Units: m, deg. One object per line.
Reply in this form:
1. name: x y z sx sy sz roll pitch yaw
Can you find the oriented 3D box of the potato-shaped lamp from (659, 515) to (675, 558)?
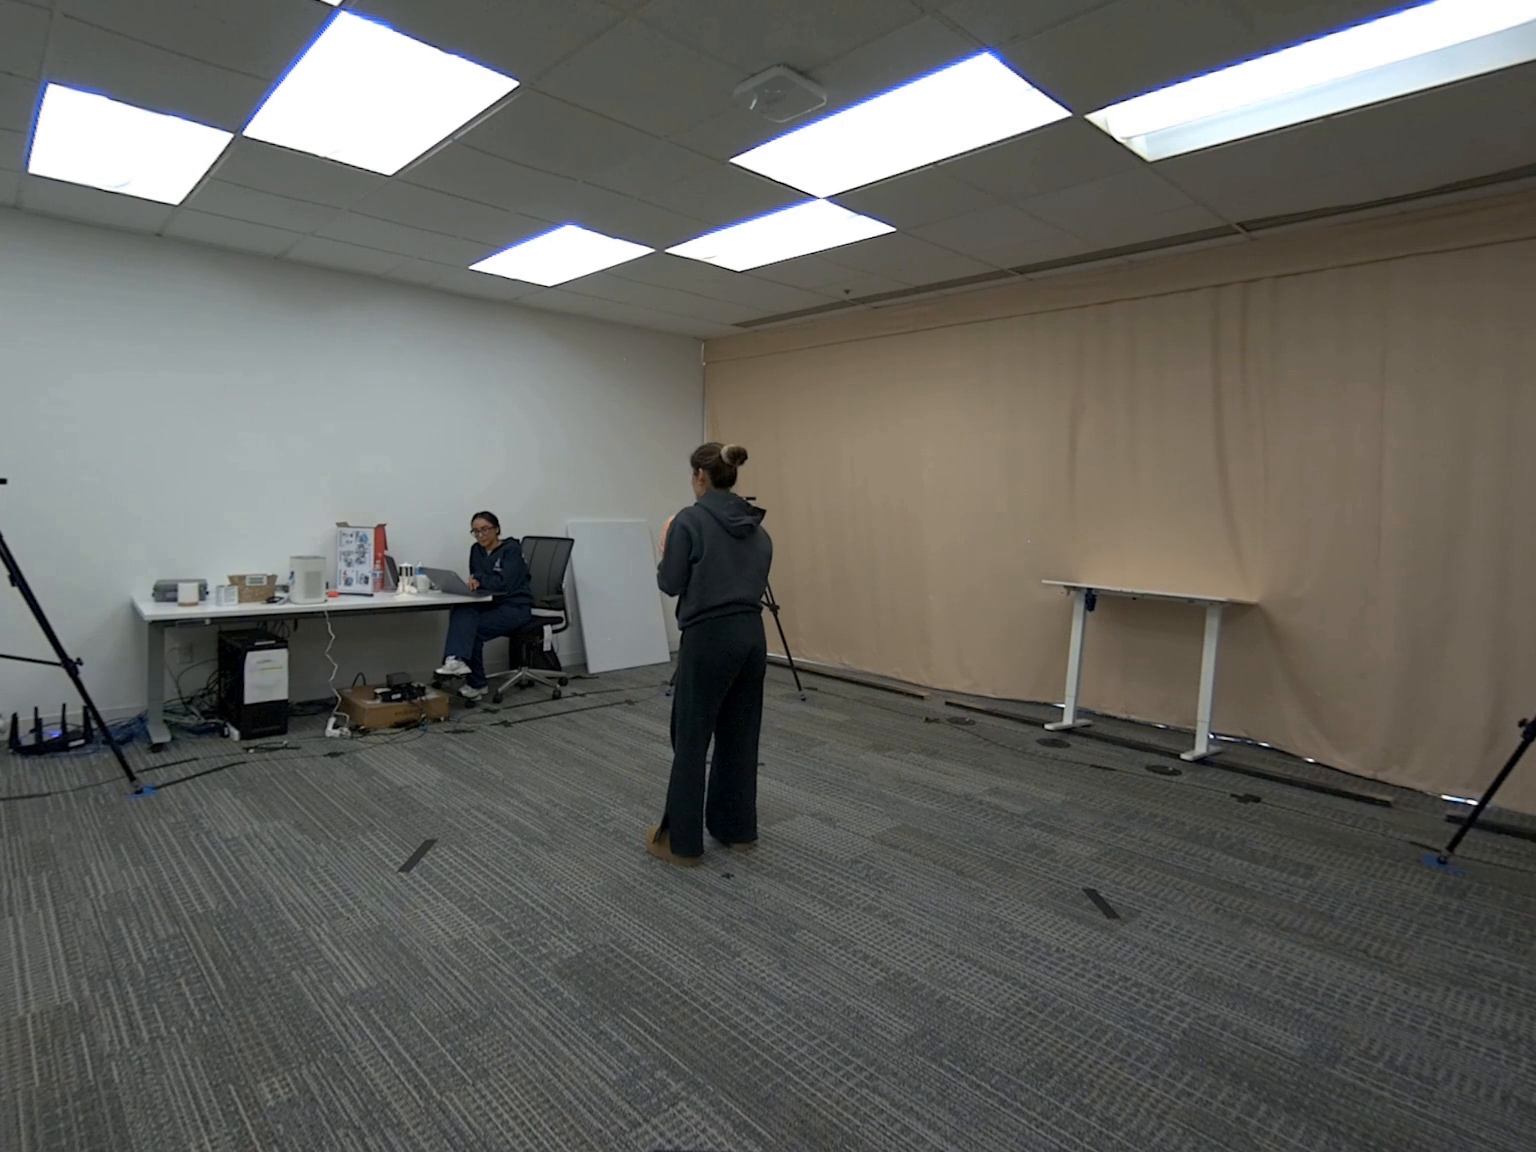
1. potato-shaped lamp: -0.358 -0.146 3.476 0.161 0.199 0.174 -7 -7 -42
